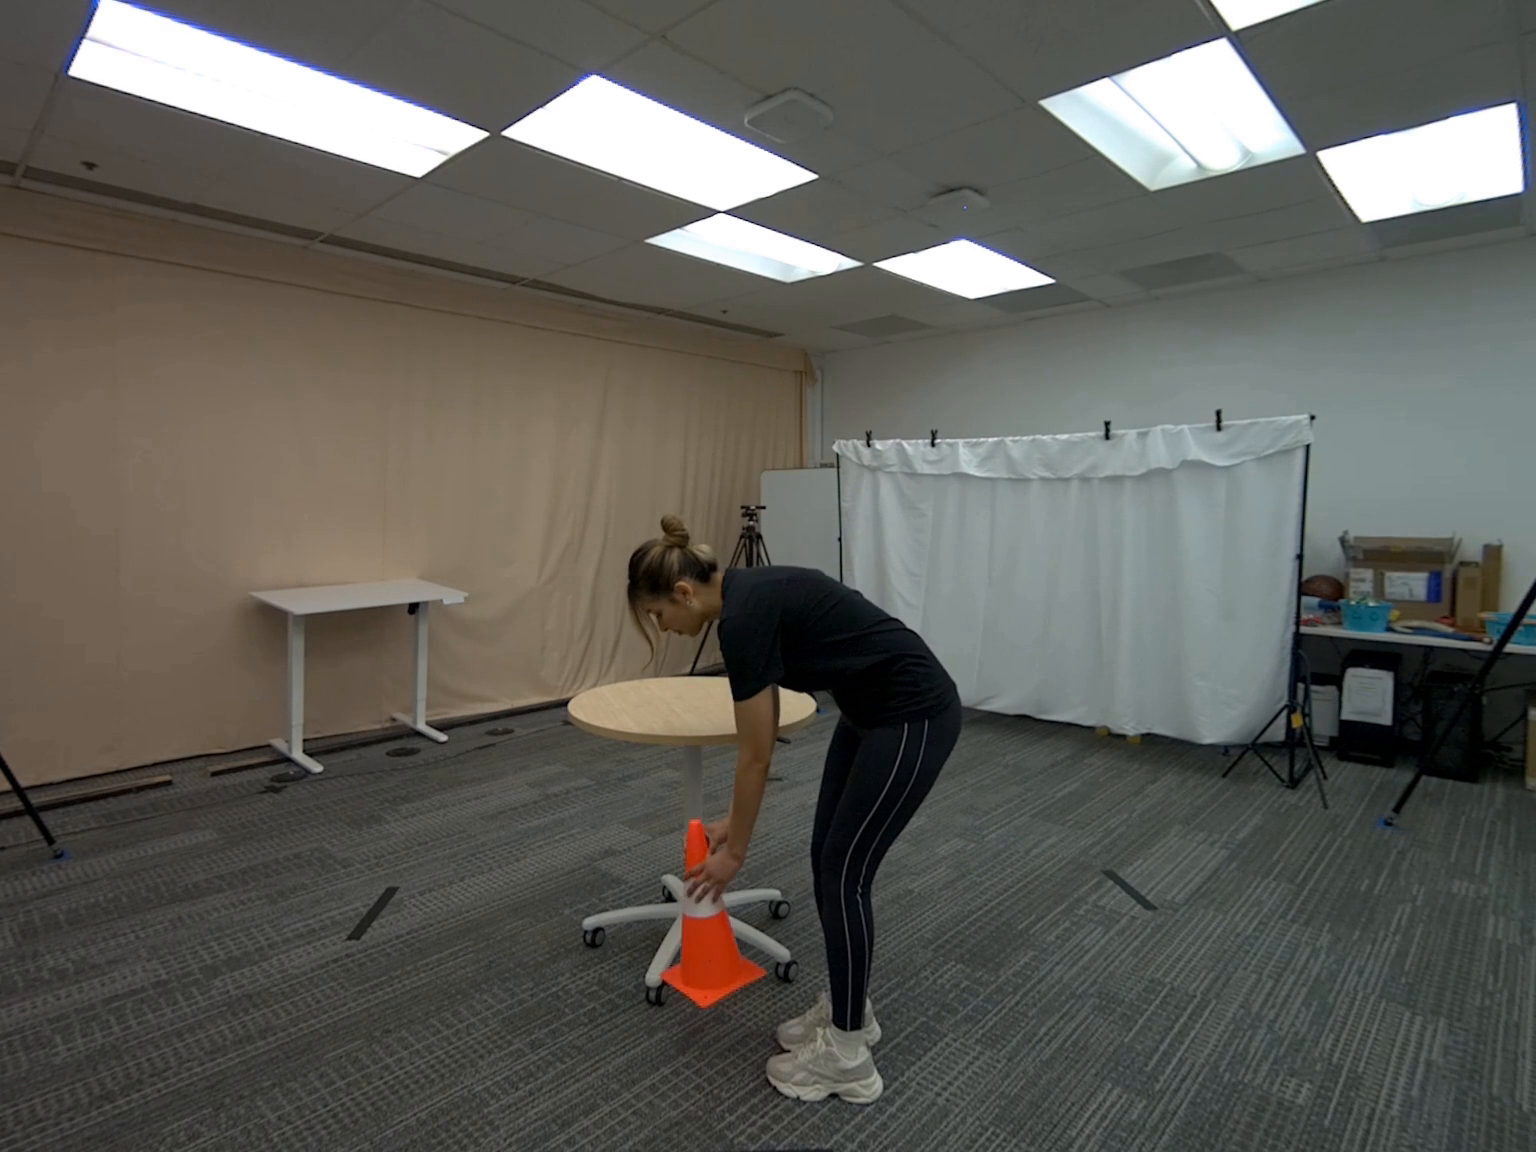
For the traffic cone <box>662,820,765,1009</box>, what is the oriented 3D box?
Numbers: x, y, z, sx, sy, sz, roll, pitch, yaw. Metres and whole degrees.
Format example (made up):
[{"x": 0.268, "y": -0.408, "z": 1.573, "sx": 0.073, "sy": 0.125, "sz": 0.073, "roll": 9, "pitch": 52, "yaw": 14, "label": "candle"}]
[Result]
[{"x": -0.153, "y": 0.802, "z": 2.051, "sx": 0.198, "sy": 0.383, "sz": 0.211, "roll": -9, "pitch": 4, "yaw": -34, "label": "traffic cone"}]
